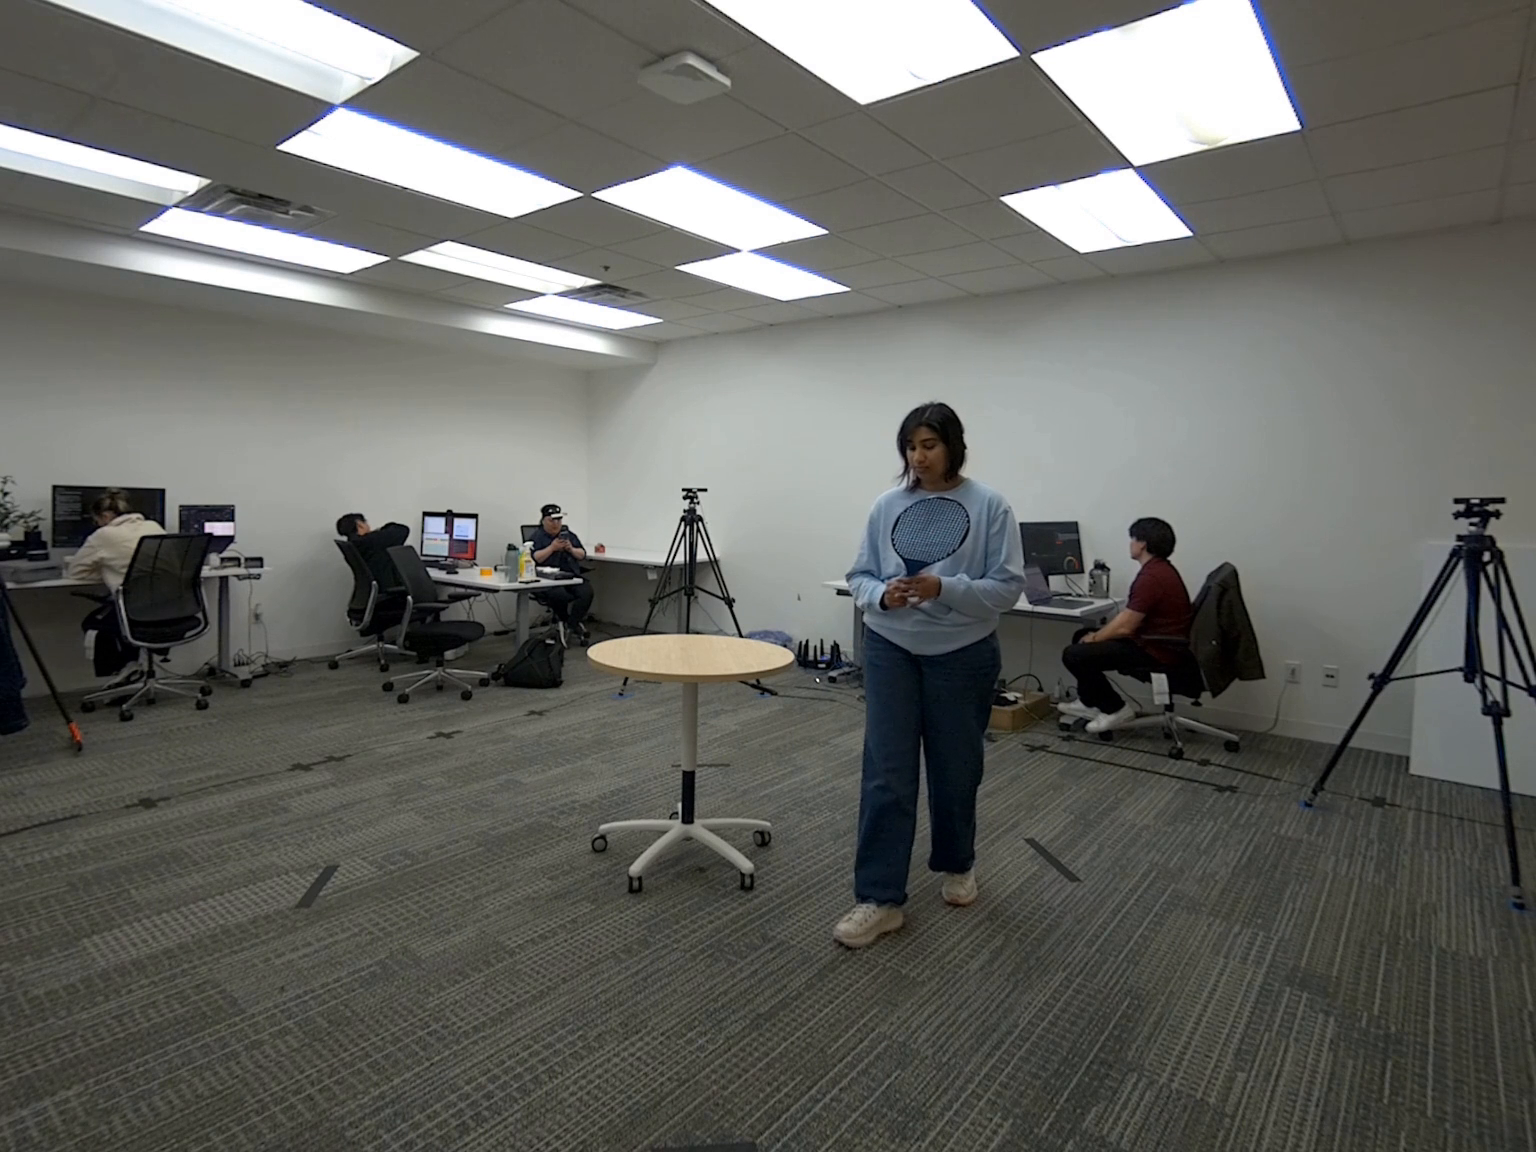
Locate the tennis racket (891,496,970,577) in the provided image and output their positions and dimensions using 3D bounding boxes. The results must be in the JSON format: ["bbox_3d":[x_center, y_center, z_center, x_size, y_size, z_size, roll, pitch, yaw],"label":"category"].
[{"bbox_3d":[0.439,-0.079,2.489,0.214,0.423,0.032,9,45,-1],"label":"tennis racket"}]
